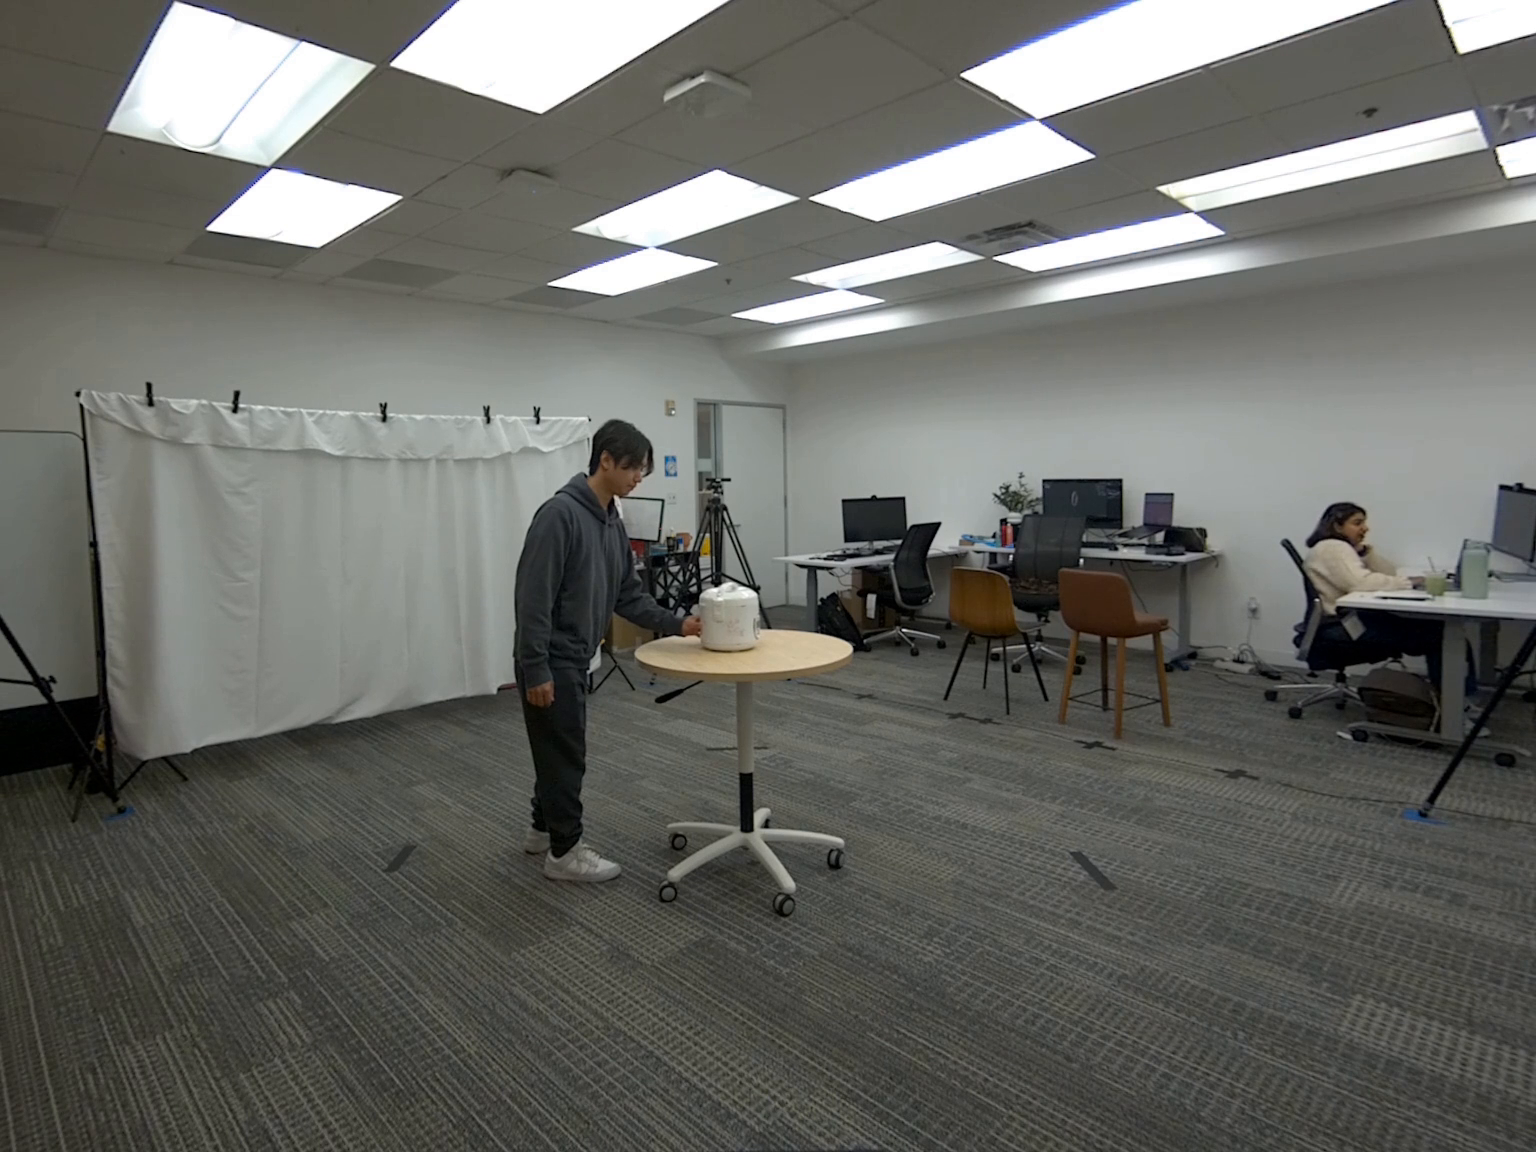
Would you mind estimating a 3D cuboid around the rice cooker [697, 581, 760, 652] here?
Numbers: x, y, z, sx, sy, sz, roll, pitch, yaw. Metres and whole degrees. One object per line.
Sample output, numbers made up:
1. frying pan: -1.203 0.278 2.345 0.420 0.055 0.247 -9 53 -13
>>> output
1. rice cooker: -0.137 0.139 3.030 0.222 0.232 0.217 0 5 22
